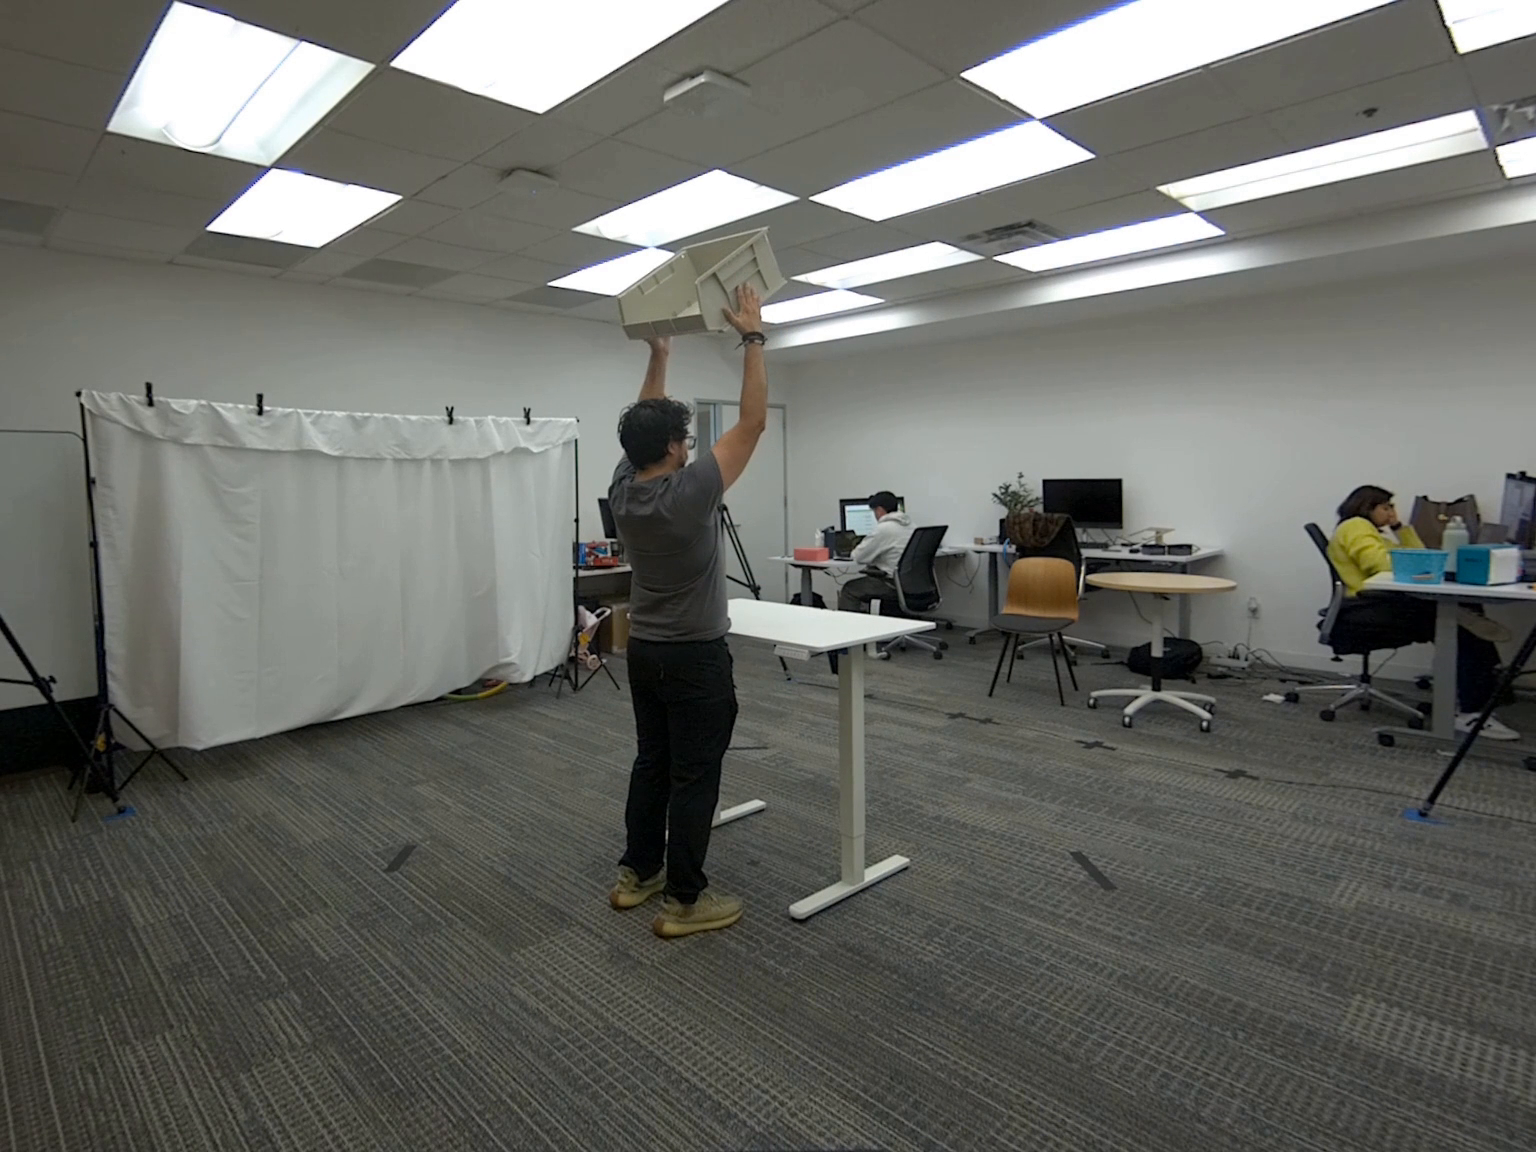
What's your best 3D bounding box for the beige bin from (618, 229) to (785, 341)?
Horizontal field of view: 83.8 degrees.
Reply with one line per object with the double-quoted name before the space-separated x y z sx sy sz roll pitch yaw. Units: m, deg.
"beige bin" -0.217 -0.901 2.713 0.436 0.183 0.377 10 46 47
